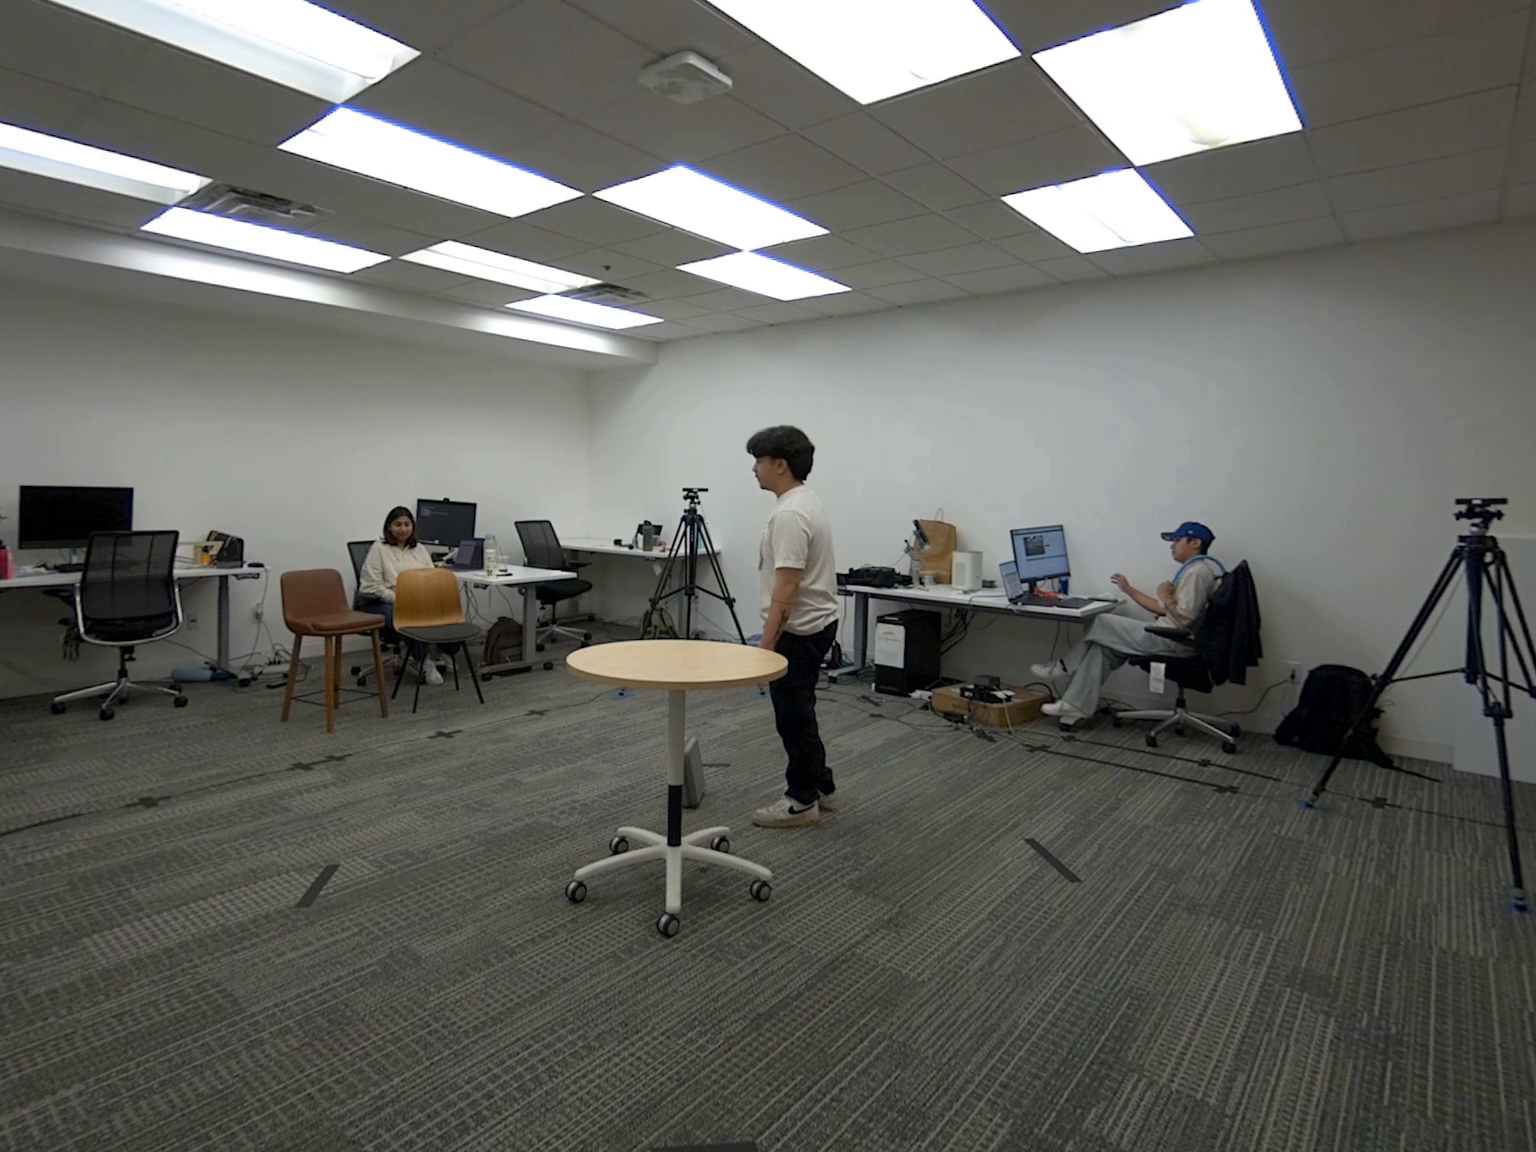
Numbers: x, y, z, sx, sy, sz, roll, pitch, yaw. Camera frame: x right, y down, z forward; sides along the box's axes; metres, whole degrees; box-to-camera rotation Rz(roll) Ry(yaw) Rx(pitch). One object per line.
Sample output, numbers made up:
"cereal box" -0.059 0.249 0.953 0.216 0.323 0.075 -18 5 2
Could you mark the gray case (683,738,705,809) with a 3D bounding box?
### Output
"gray case" -0.373 0.870 3.815 0.105 0.260 0.255 -10 3 8
